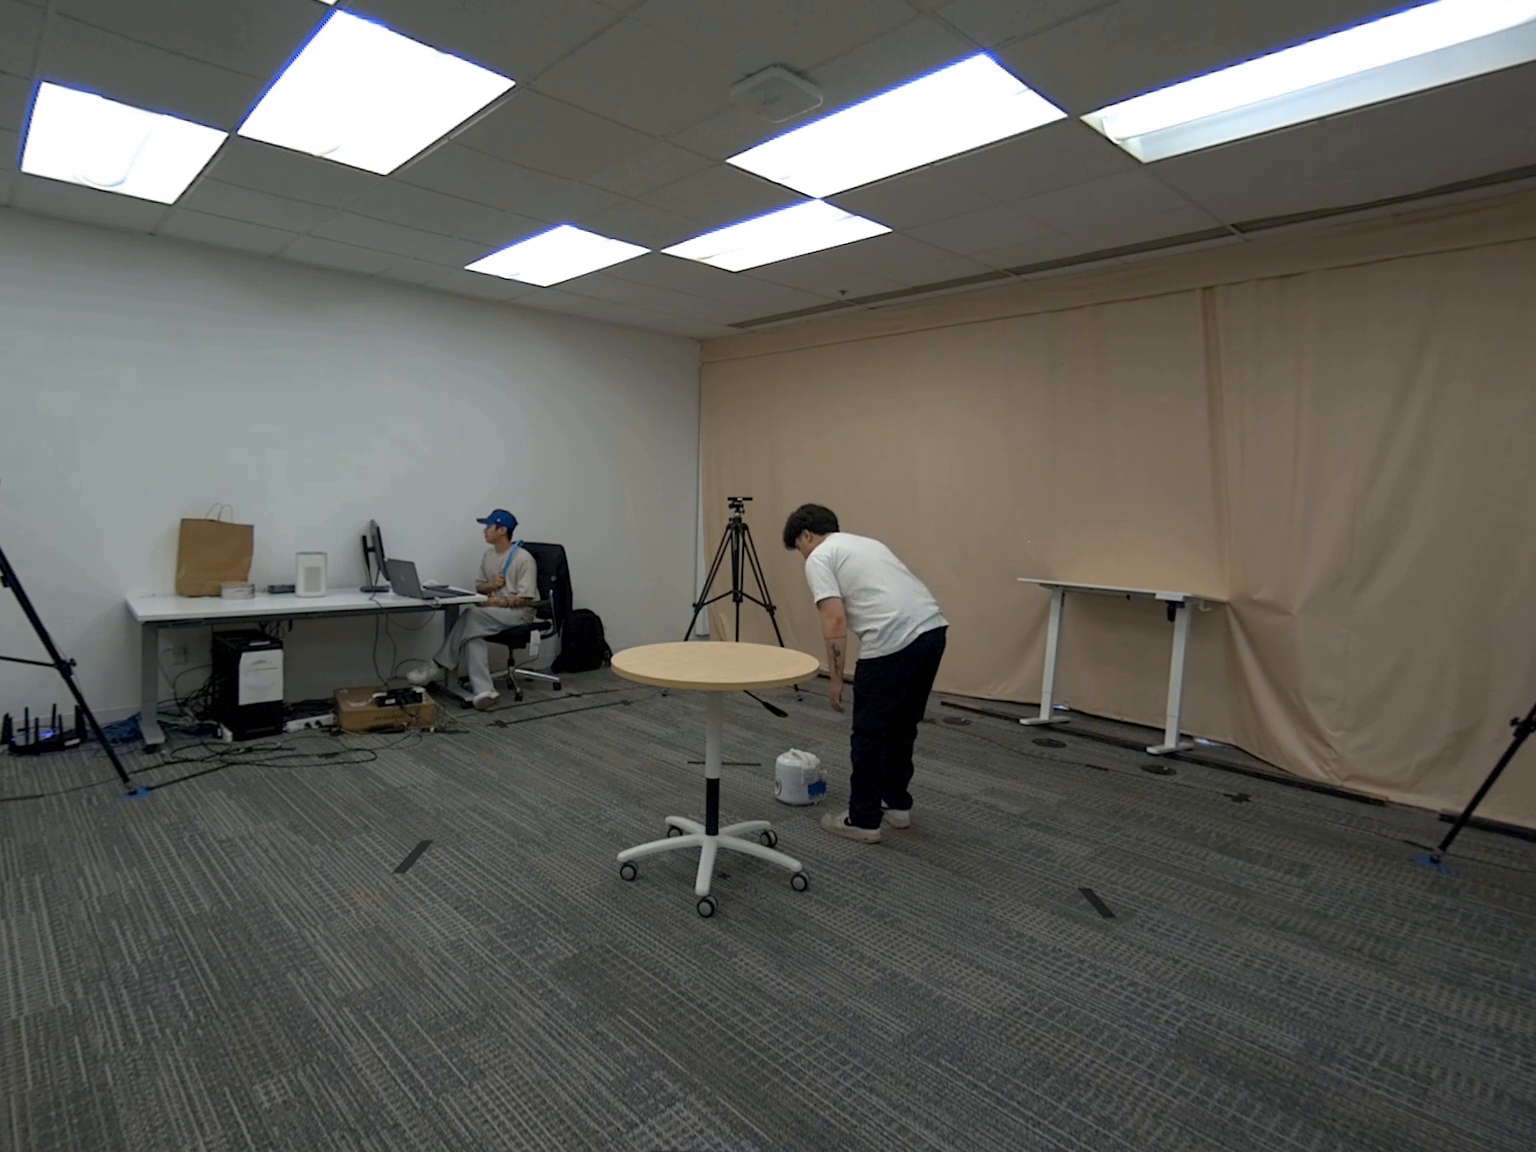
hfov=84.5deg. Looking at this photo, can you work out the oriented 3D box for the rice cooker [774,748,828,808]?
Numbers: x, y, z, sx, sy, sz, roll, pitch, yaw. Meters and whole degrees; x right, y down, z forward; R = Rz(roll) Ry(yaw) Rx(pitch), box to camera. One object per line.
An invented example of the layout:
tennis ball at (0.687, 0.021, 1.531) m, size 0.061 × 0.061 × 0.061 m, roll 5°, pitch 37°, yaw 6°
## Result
rice cooker at (0.126, 0.929, 3.932) m, size 0.213 × 0.232 × 0.225 m, roll 1°, pitch 4°, yaw -24°
